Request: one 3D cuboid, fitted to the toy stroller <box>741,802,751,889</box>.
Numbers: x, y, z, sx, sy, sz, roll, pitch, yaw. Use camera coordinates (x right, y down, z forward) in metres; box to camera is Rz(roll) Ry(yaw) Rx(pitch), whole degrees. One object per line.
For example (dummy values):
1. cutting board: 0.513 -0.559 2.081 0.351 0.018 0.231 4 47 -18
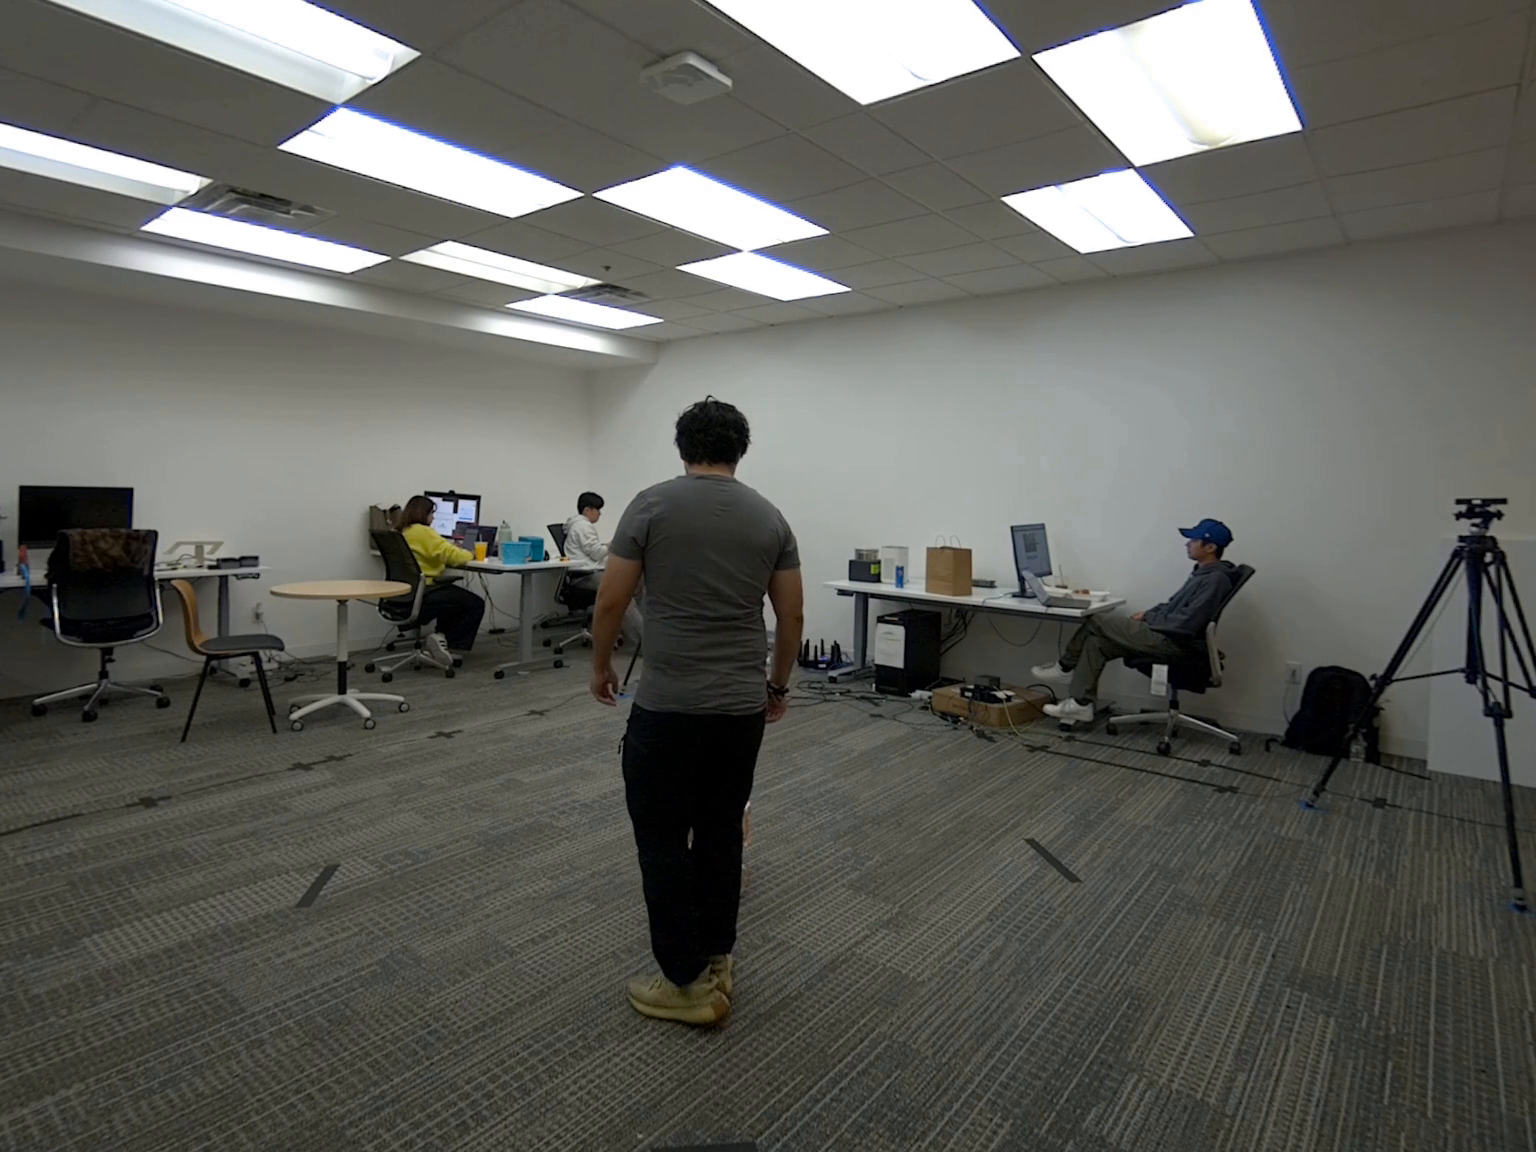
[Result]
1. toy stroller: -0.198 0.854 2.994 0.289 0.525 0.339 3 21 24
